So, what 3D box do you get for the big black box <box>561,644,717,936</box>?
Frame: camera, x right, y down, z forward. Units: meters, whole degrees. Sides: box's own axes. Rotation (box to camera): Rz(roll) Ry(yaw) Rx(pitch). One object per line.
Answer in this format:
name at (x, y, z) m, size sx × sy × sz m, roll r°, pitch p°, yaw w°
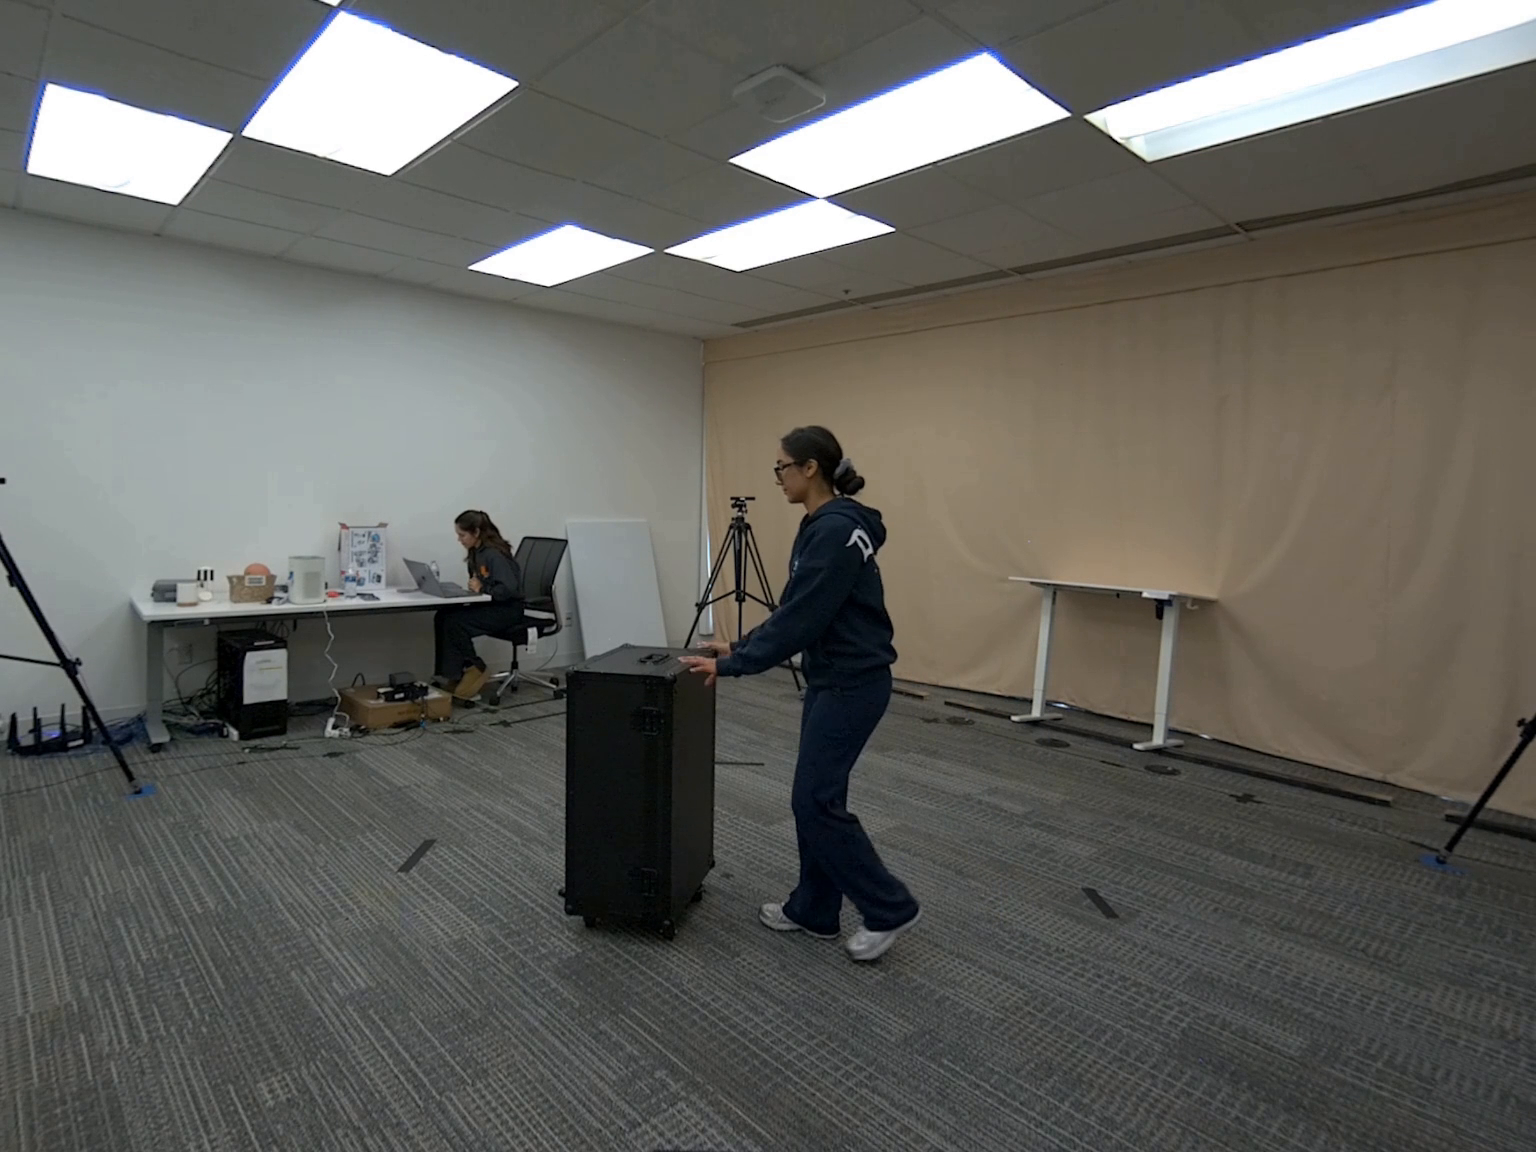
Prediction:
big black box at (-0.425, 0.706, 2.822) m, size 0.401 × 0.859 × 0.516 m, roll 2°, pitch 3°, yaw 14°
